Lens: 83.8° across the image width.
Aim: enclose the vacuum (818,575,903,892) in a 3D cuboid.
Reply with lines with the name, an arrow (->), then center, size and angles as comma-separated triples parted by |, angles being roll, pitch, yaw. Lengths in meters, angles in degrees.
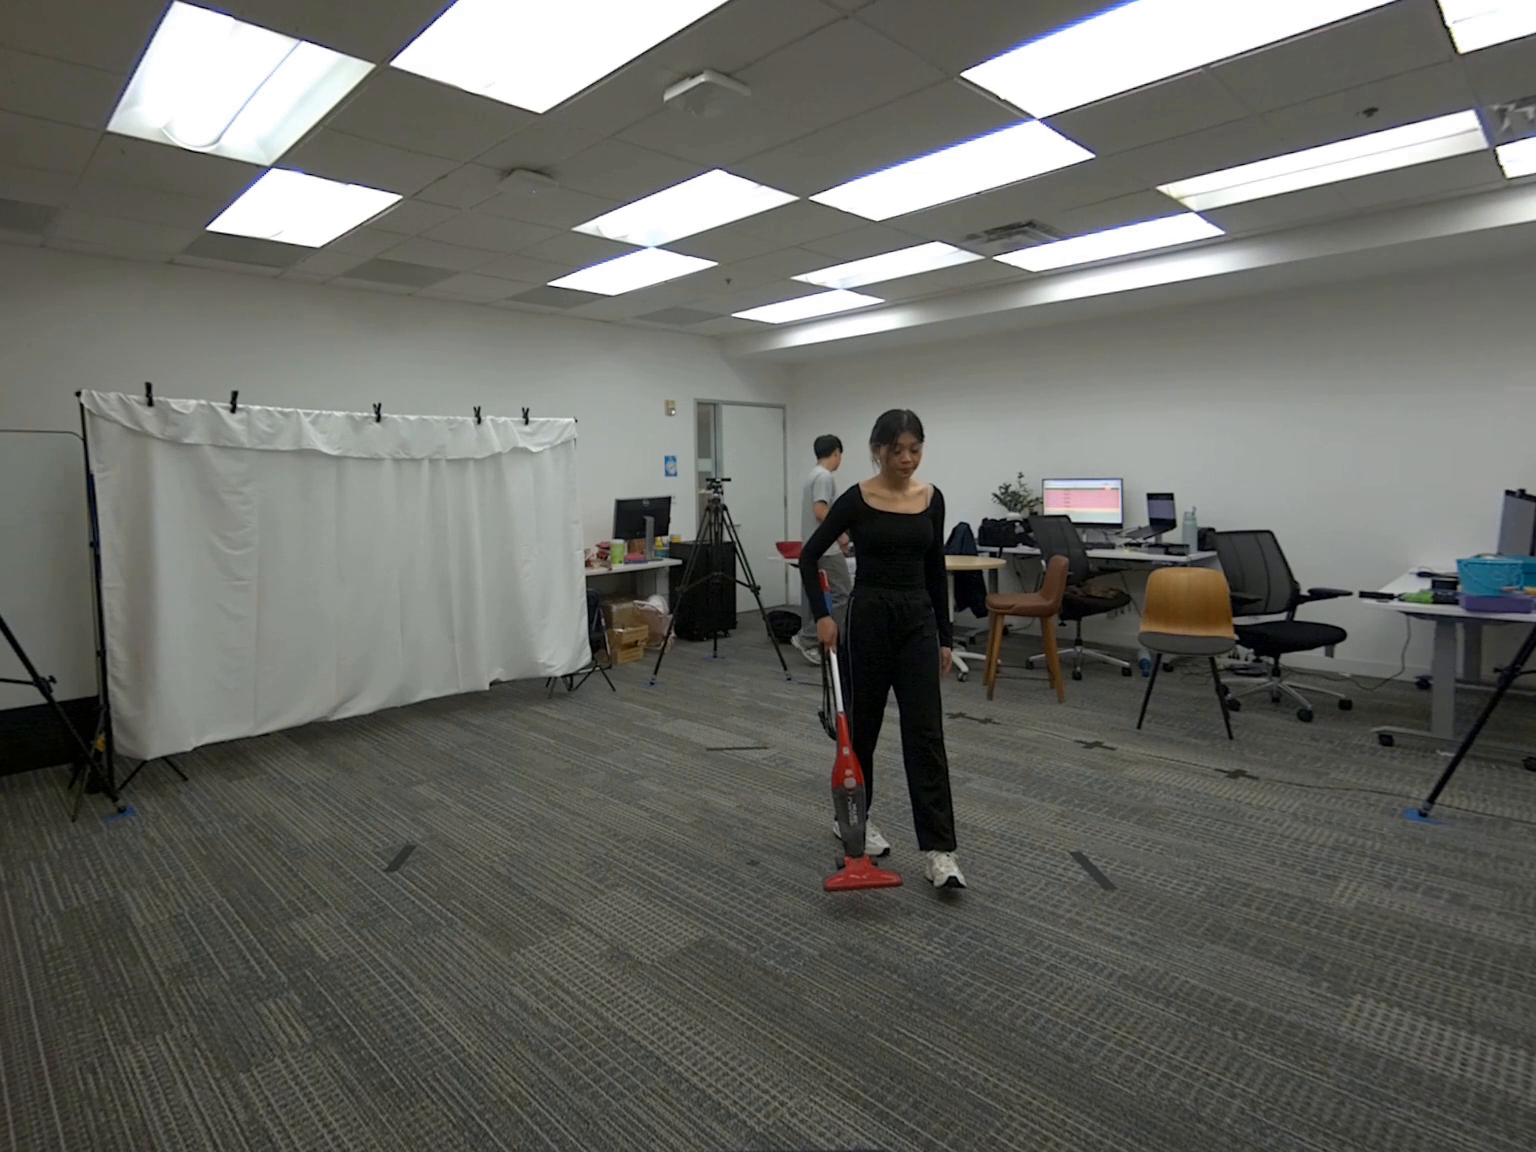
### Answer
vacuum -> 0.248, 0.488, 2.959 | 0.253, 1.073, 0.140 | -7, -23, 2
